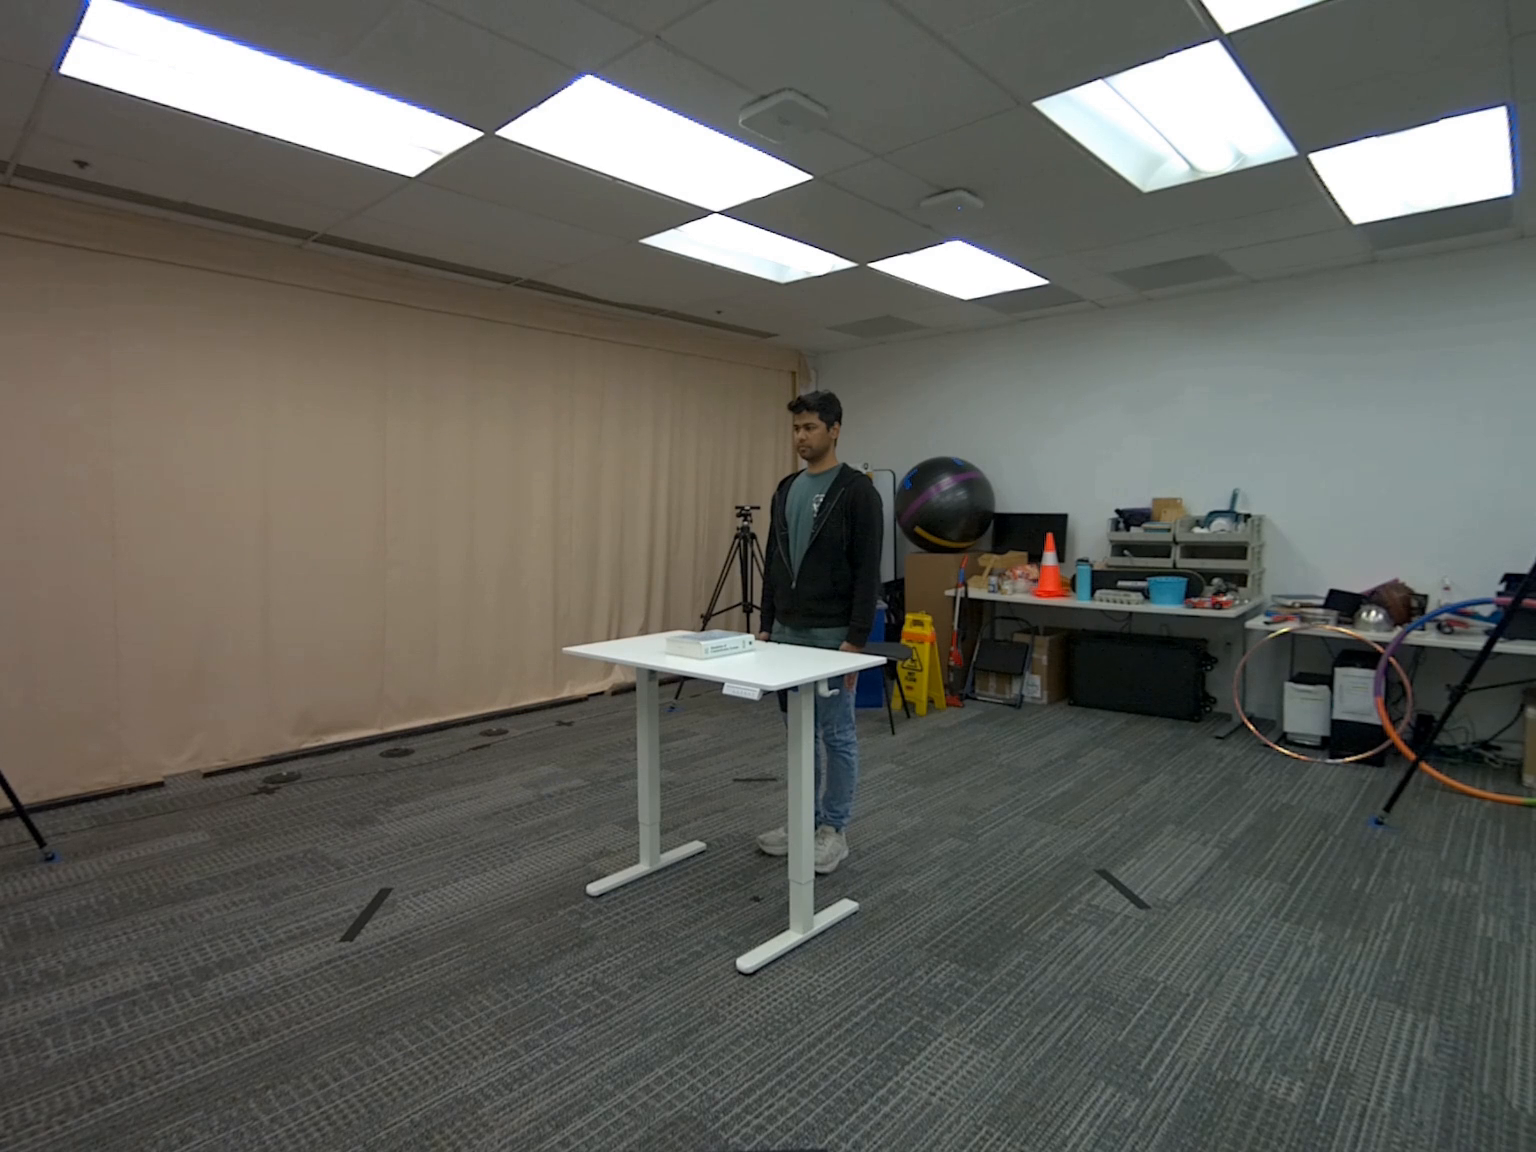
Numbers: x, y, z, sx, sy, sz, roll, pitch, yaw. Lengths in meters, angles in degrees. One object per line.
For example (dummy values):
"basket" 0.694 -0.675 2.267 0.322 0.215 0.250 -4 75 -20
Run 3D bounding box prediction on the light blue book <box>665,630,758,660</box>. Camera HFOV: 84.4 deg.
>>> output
"light blue book" -0.209 0.240 2.948 0.198 0.059 0.253 4 6 42
